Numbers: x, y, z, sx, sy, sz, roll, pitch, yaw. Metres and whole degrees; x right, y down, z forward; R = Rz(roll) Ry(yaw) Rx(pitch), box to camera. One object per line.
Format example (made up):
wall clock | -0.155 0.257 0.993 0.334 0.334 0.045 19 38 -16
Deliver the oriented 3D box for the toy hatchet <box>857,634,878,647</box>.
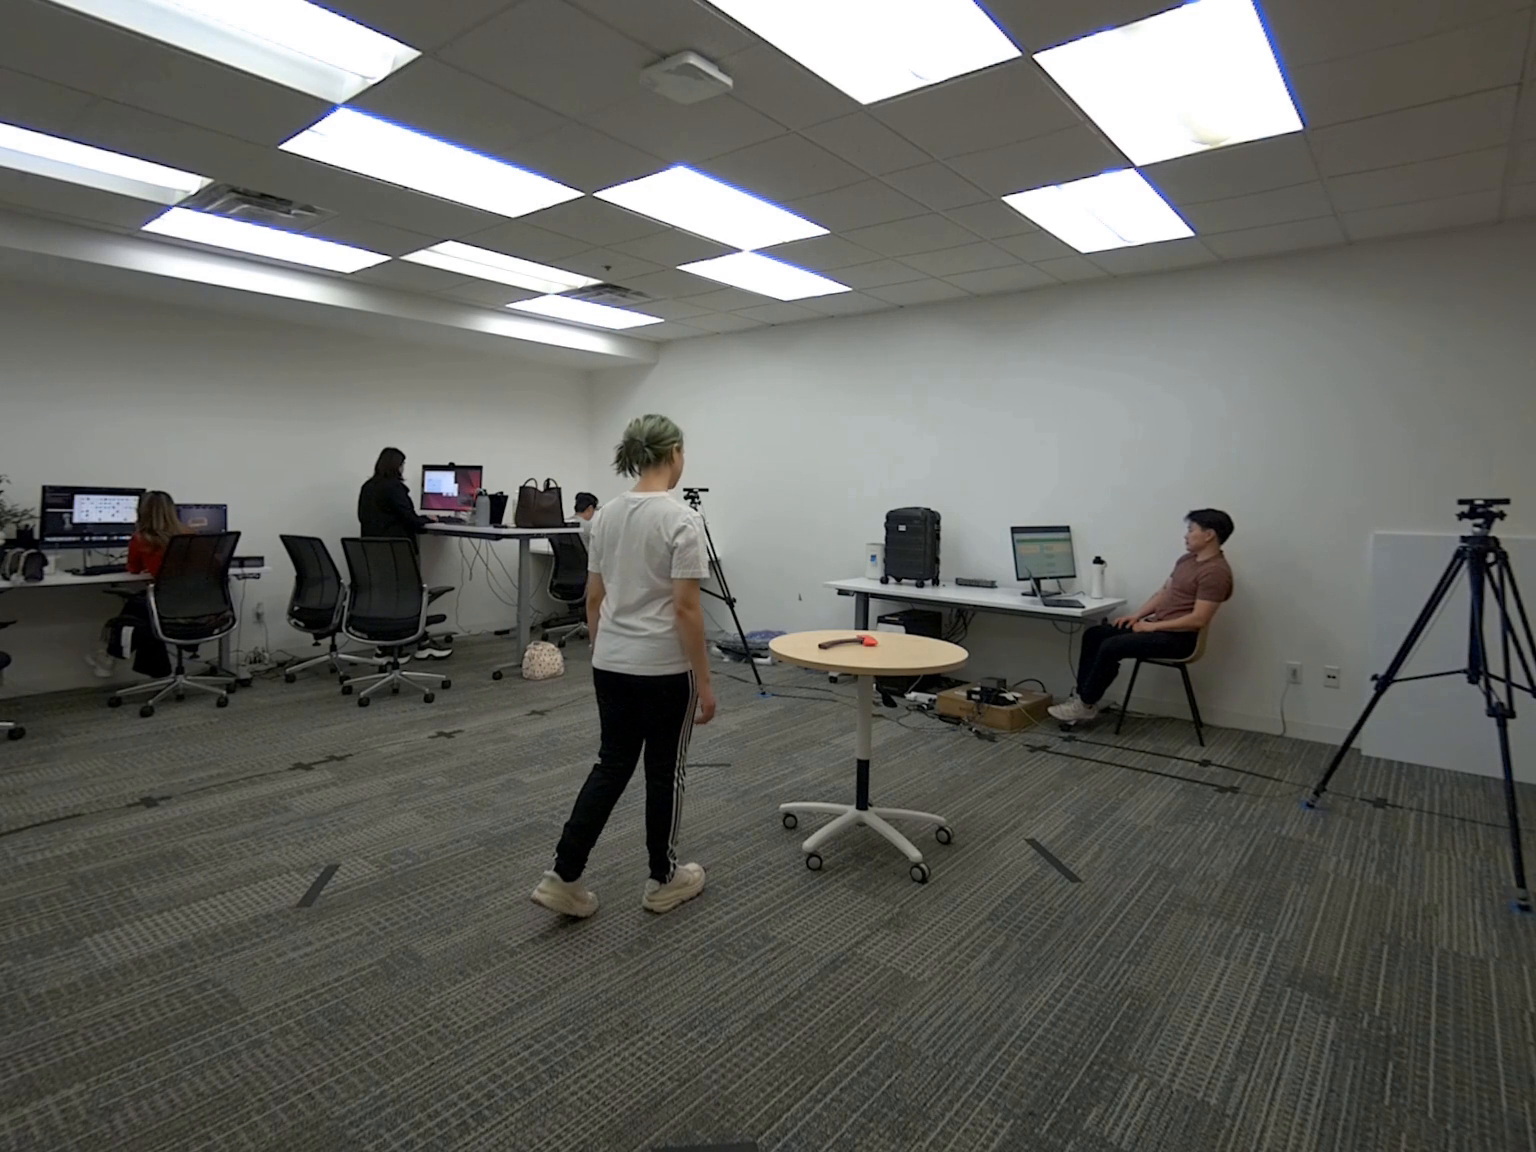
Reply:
toy hatchet | 0.310 0.260 3.333 0.136 0.029 0.262 13 15 43
